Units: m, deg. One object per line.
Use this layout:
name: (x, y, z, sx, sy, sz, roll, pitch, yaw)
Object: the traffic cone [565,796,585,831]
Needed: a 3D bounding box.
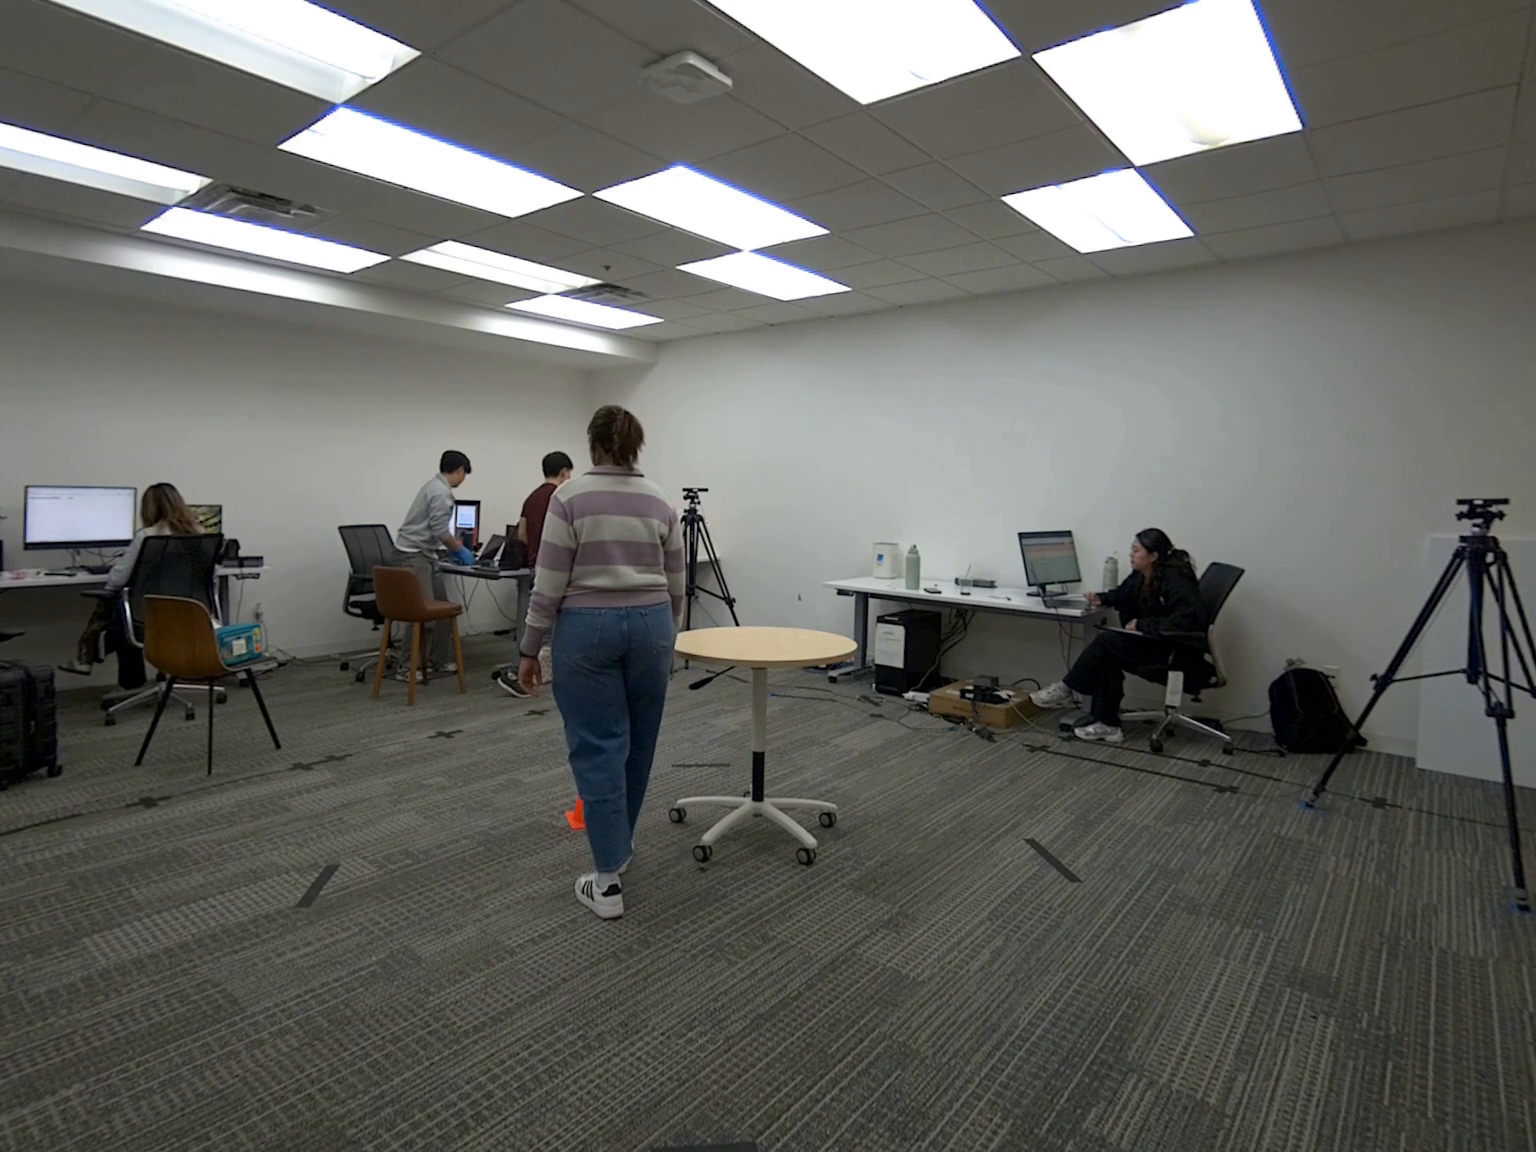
traffic cone: (-0.741, 0.827, 3.566, 0.198, 0.383, 0.210, 2, 2, -24)
